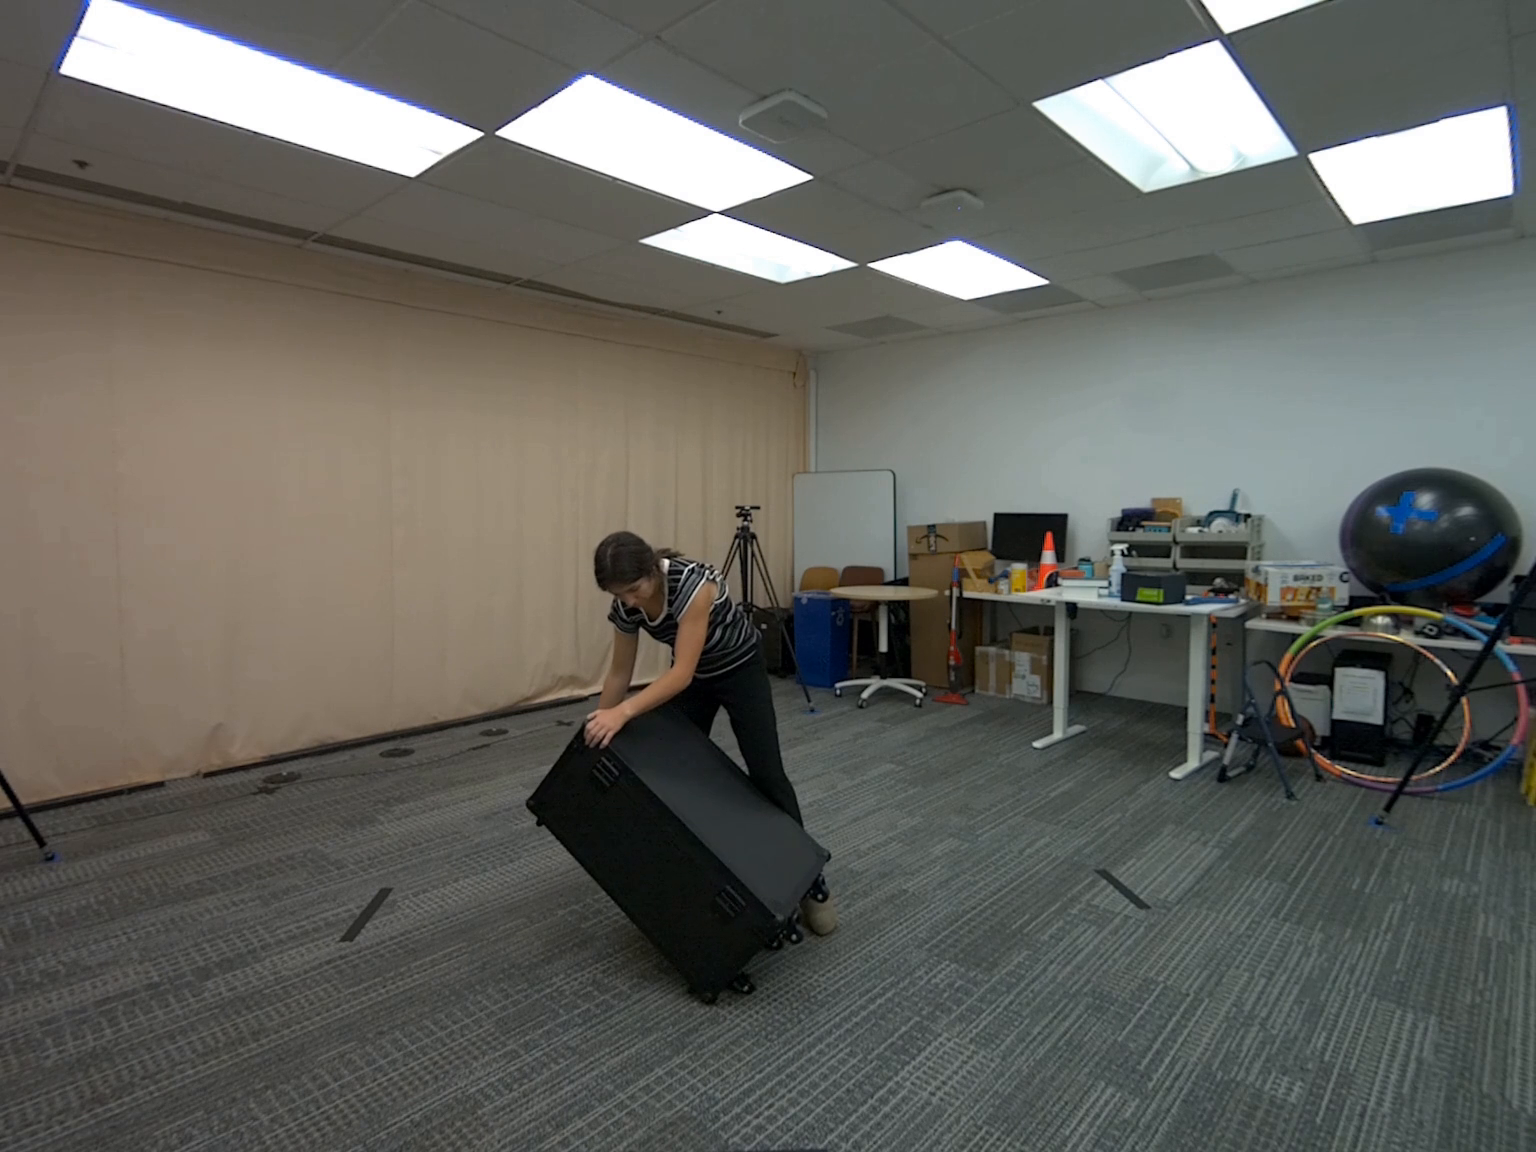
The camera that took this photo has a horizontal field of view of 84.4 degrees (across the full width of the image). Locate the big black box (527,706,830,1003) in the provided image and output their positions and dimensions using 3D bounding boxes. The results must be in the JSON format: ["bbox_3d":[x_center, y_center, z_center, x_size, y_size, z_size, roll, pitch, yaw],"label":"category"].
[{"bbox_3d":[-0.248,0.828,2.595,0.878,0.397,0.511,39,15,14],"label":"big black box"}]
